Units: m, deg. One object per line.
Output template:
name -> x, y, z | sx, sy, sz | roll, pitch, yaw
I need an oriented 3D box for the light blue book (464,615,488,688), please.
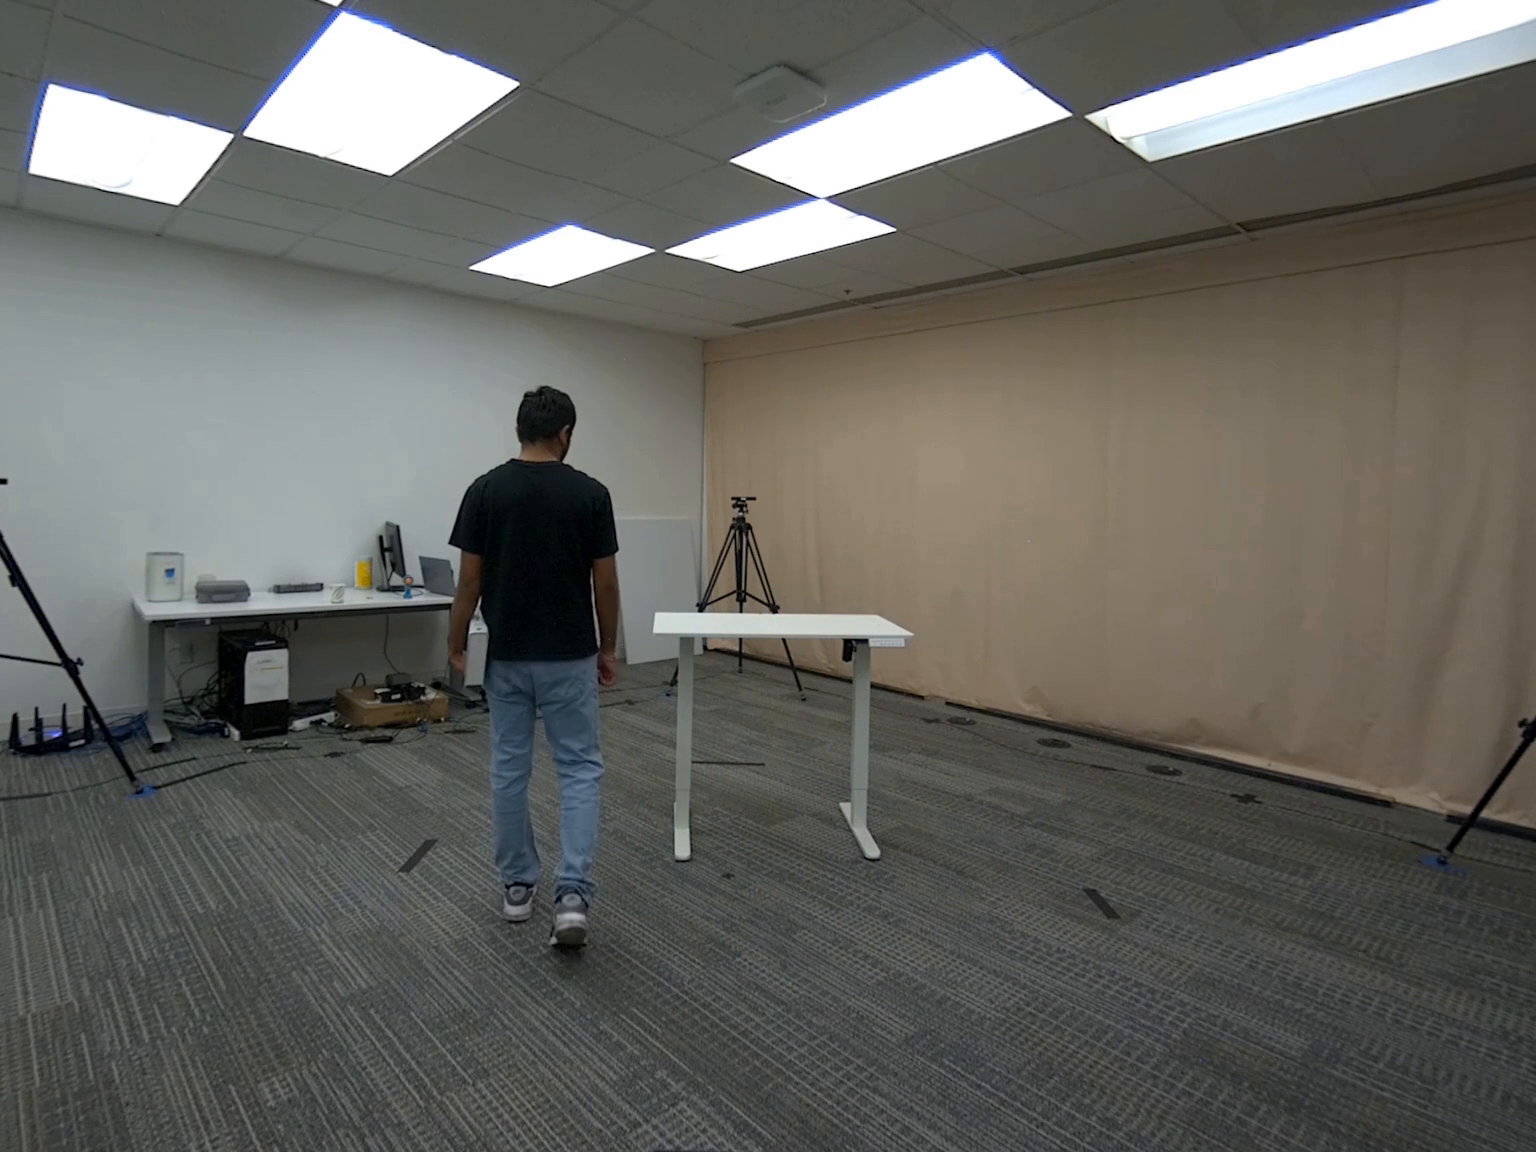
light blue book -> -0.931, 0.211, 2.723 | 0.058, 0.189, 0.267 | 5, 19, -18
